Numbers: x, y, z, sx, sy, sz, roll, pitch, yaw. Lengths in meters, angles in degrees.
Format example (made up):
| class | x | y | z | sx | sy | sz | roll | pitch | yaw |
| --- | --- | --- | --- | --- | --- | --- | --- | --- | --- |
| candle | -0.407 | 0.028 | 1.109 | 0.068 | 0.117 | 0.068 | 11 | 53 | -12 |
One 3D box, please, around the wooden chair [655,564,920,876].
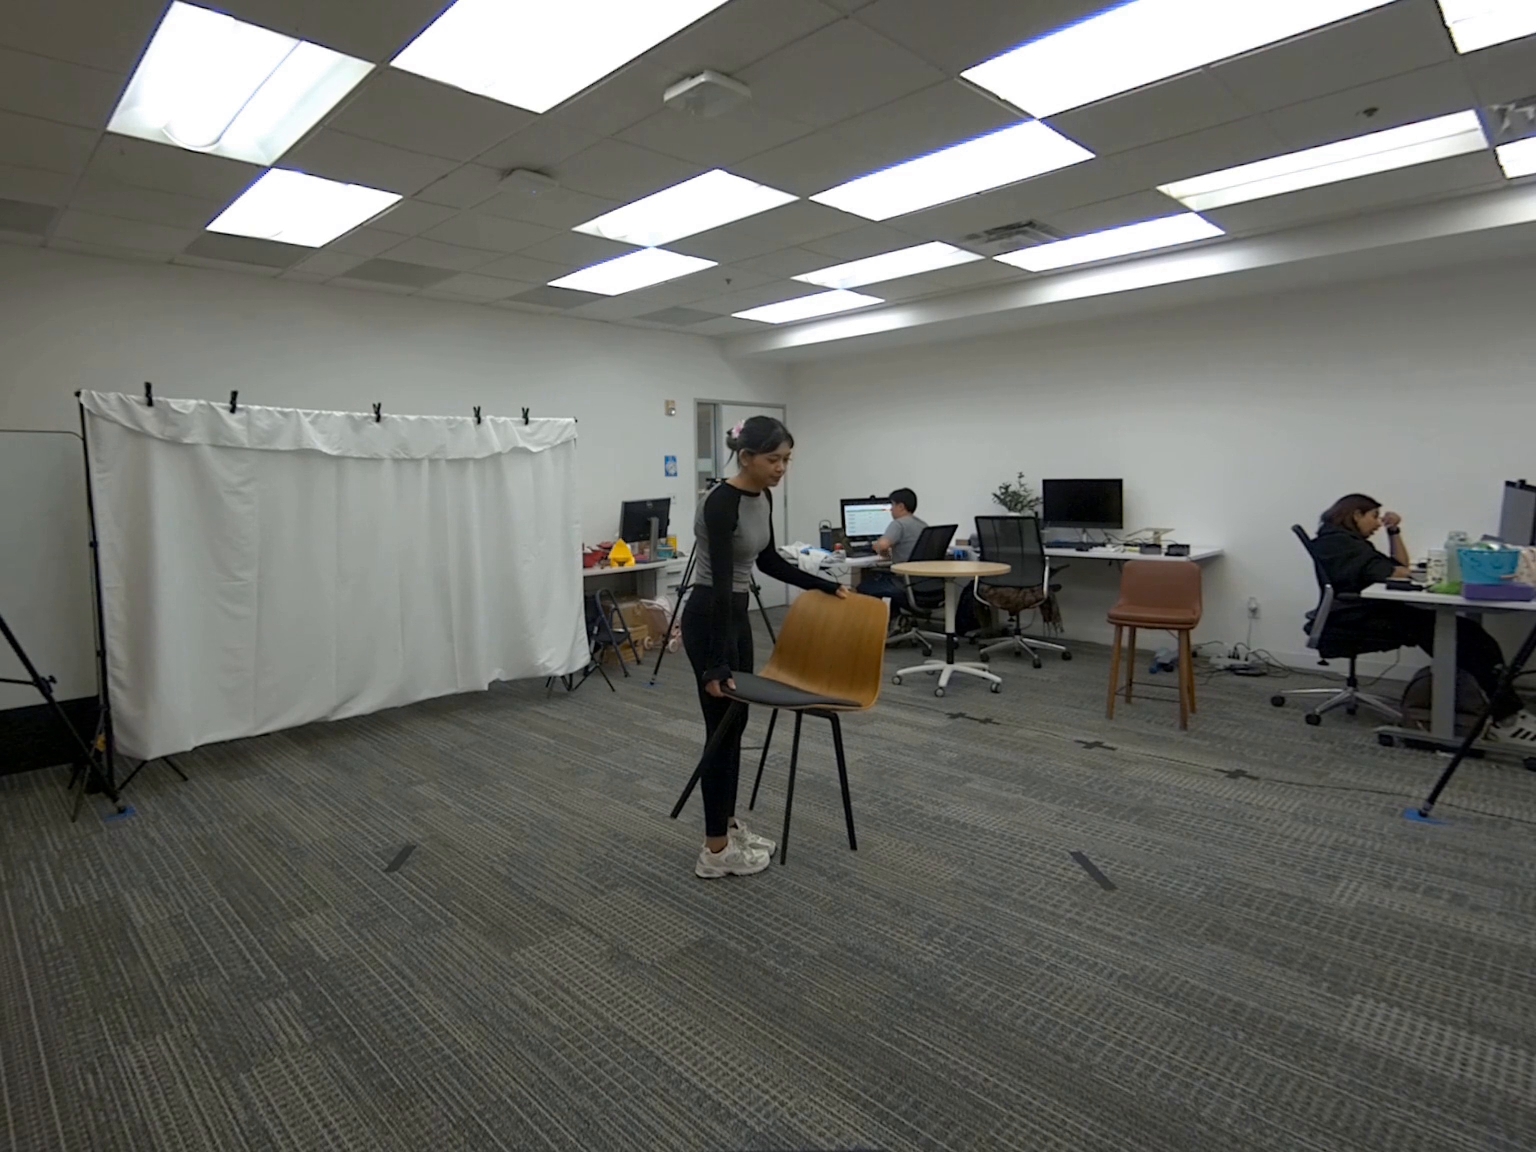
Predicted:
| class | x | y | z | sx | sy | sz | roll | pitch | yaw |
| --- | --- | --- | --- | --- | --- | --- | --- | --- | --- |
| wooden chair | 0.079 | 0.437 | 2.820 | 0.493 | 0.881 | 0.504 | 8 | -9 | 38 |
